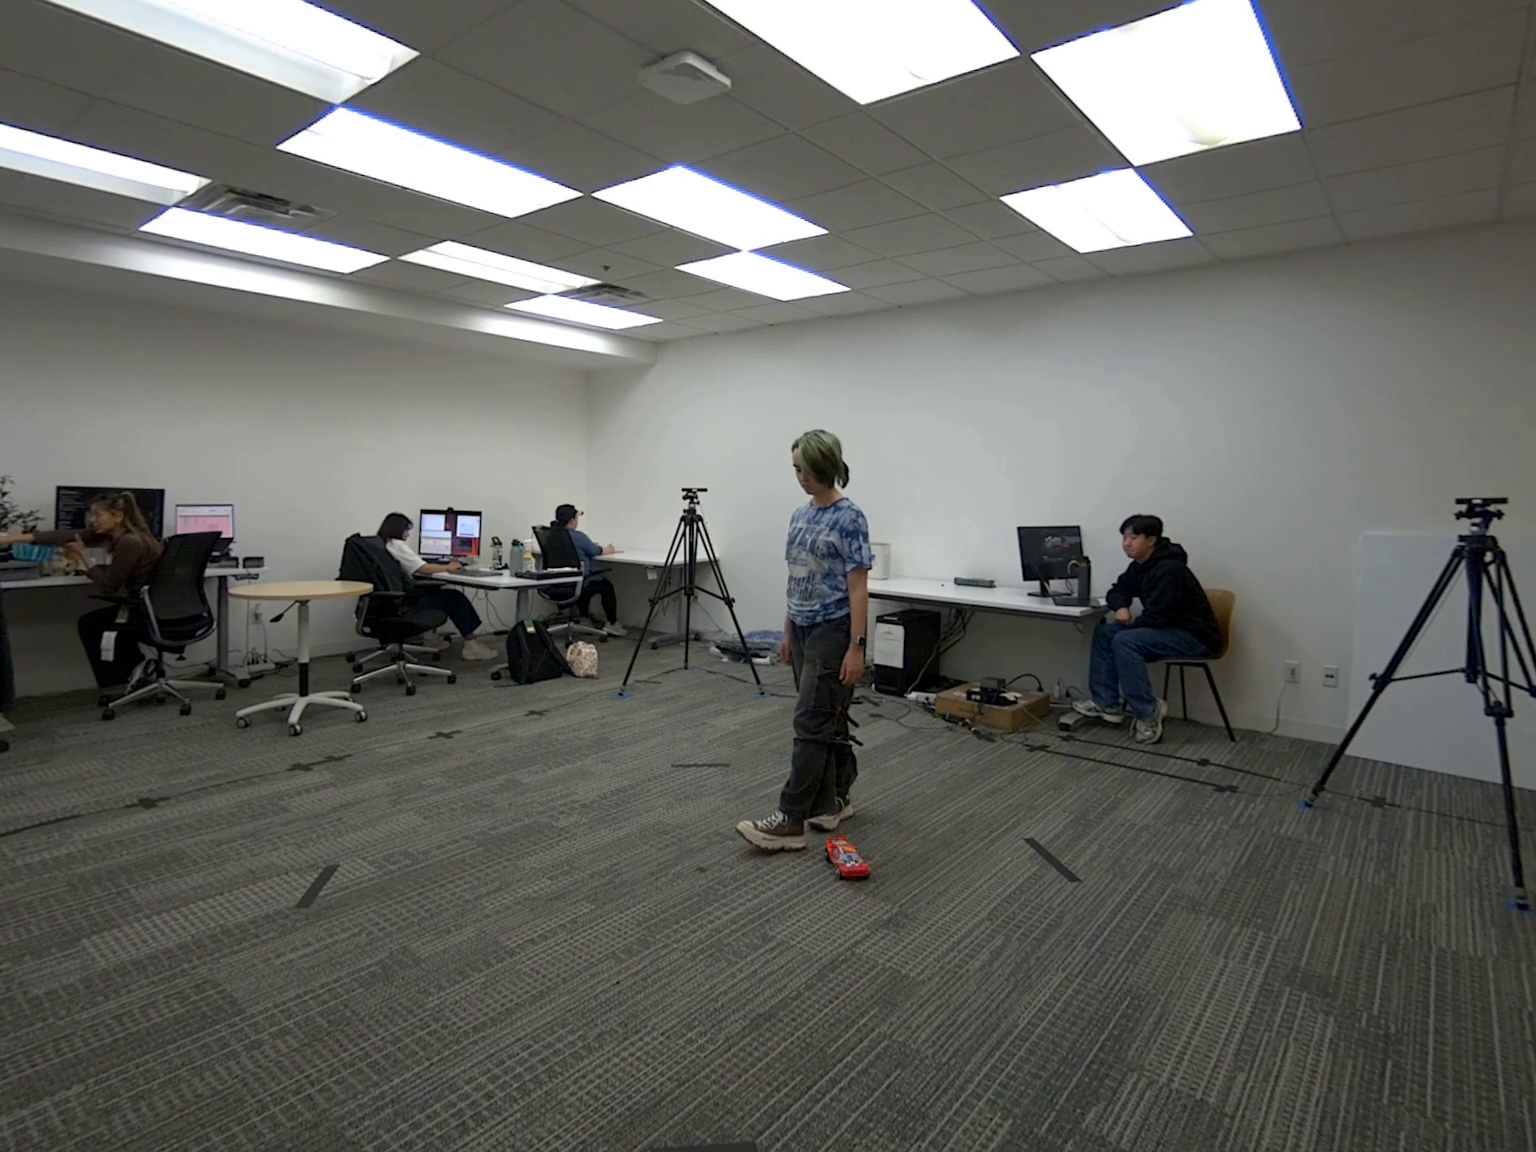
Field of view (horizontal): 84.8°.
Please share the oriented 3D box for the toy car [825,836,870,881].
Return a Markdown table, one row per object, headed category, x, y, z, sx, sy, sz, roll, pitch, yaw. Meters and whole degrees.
| category | x | y | z | sx | sy | sz | roll | pitch | yaw |
| --- | --- | --- | --- | --- | --- | --- | --- | --- | --- |
| toy car | 0.282 | 1.045 | 3.156 | 0.129 | 0.082 | 0.261 | -1 | 17 | -11 |
